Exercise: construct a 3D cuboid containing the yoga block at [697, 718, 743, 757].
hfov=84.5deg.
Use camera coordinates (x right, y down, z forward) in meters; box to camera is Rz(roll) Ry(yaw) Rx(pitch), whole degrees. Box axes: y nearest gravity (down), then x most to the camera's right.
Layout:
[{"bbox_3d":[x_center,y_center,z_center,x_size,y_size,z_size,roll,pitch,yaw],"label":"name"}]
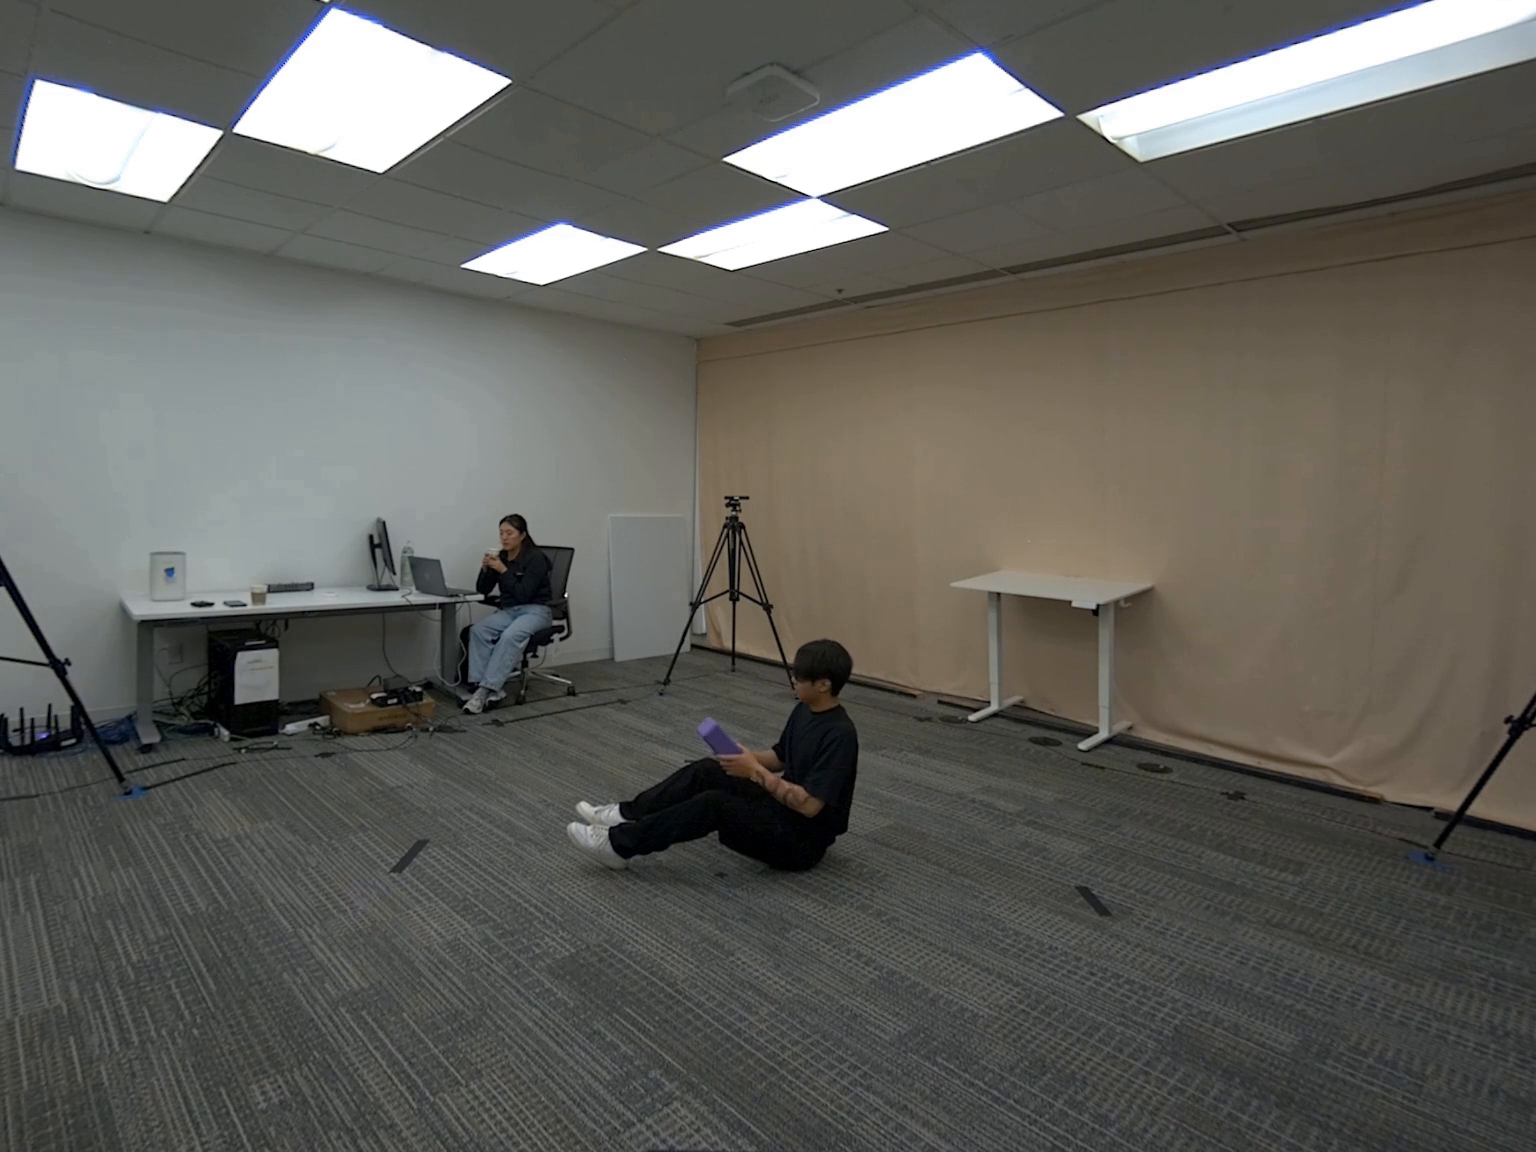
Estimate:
[{"bbox_3d":[-0.159,0.648,3.181,0.076,0.228,0.150,-45,7,-9],"label":"yoga block"}]
